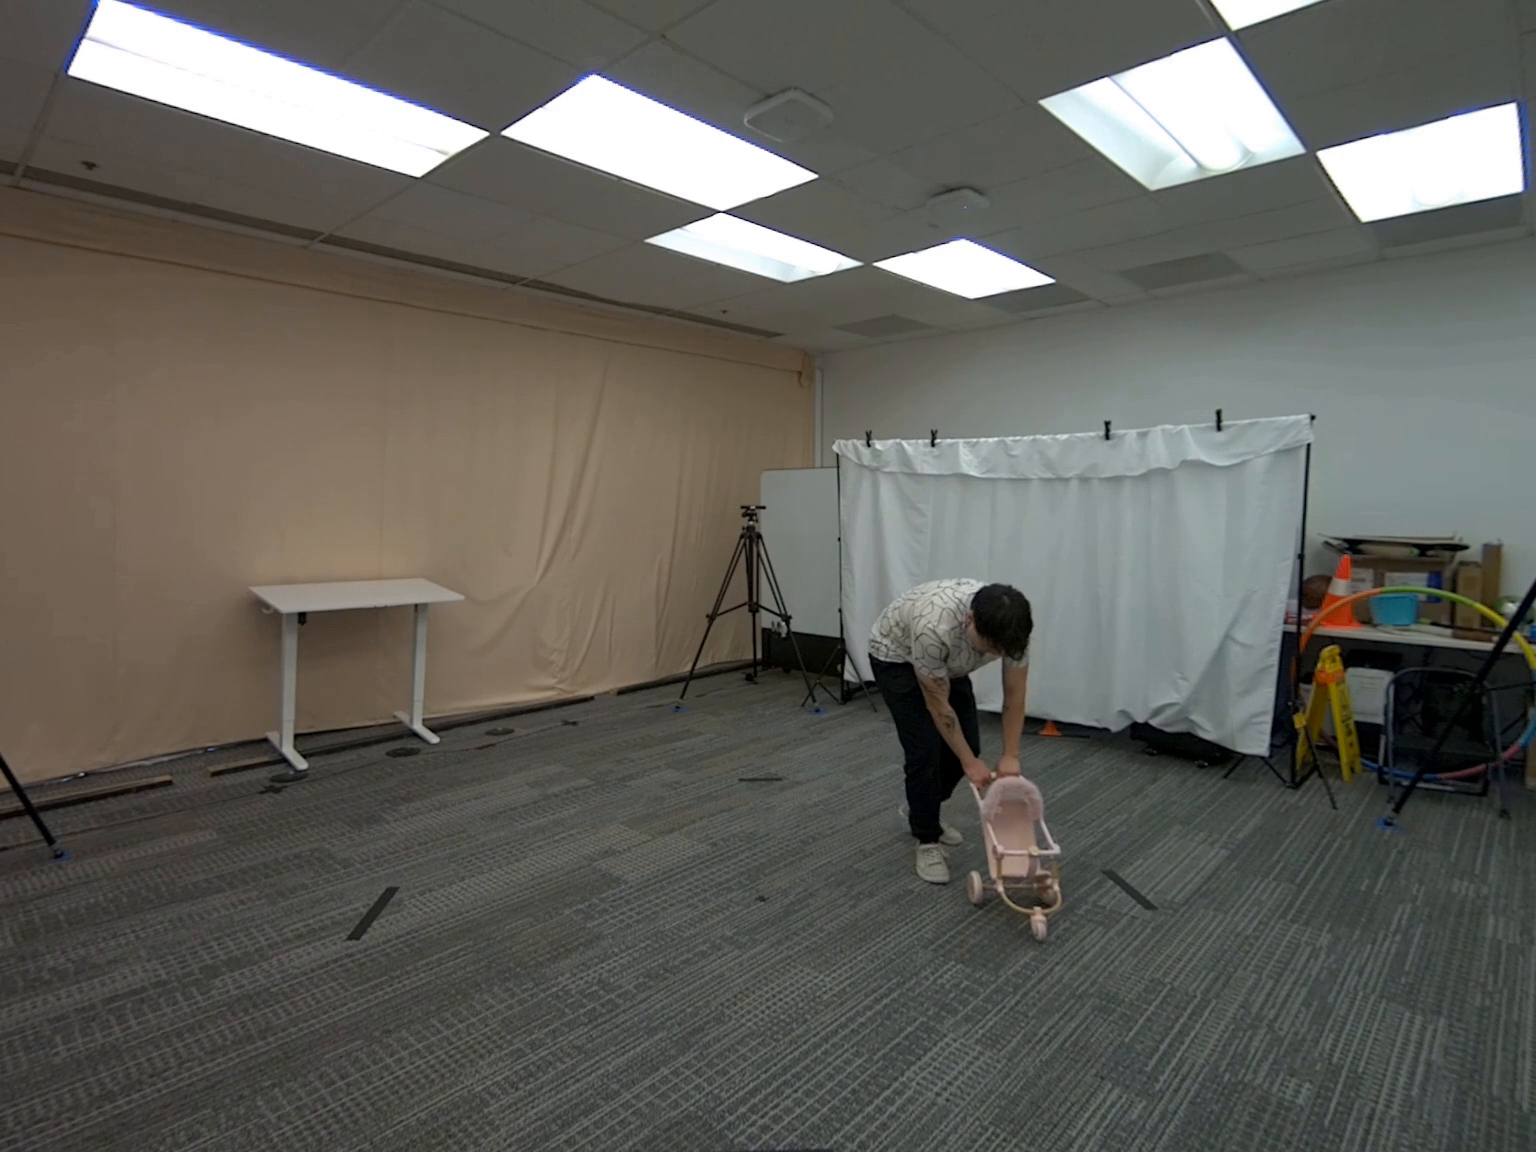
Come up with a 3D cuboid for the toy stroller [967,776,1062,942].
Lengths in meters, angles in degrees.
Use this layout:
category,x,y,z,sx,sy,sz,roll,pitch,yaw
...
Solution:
category,x,y,z,sx,sy,sz,roll,pitch,yaw
toy stroller,0.848,0.927,2.881,0.282,0.540,0.337,0,-15,1
